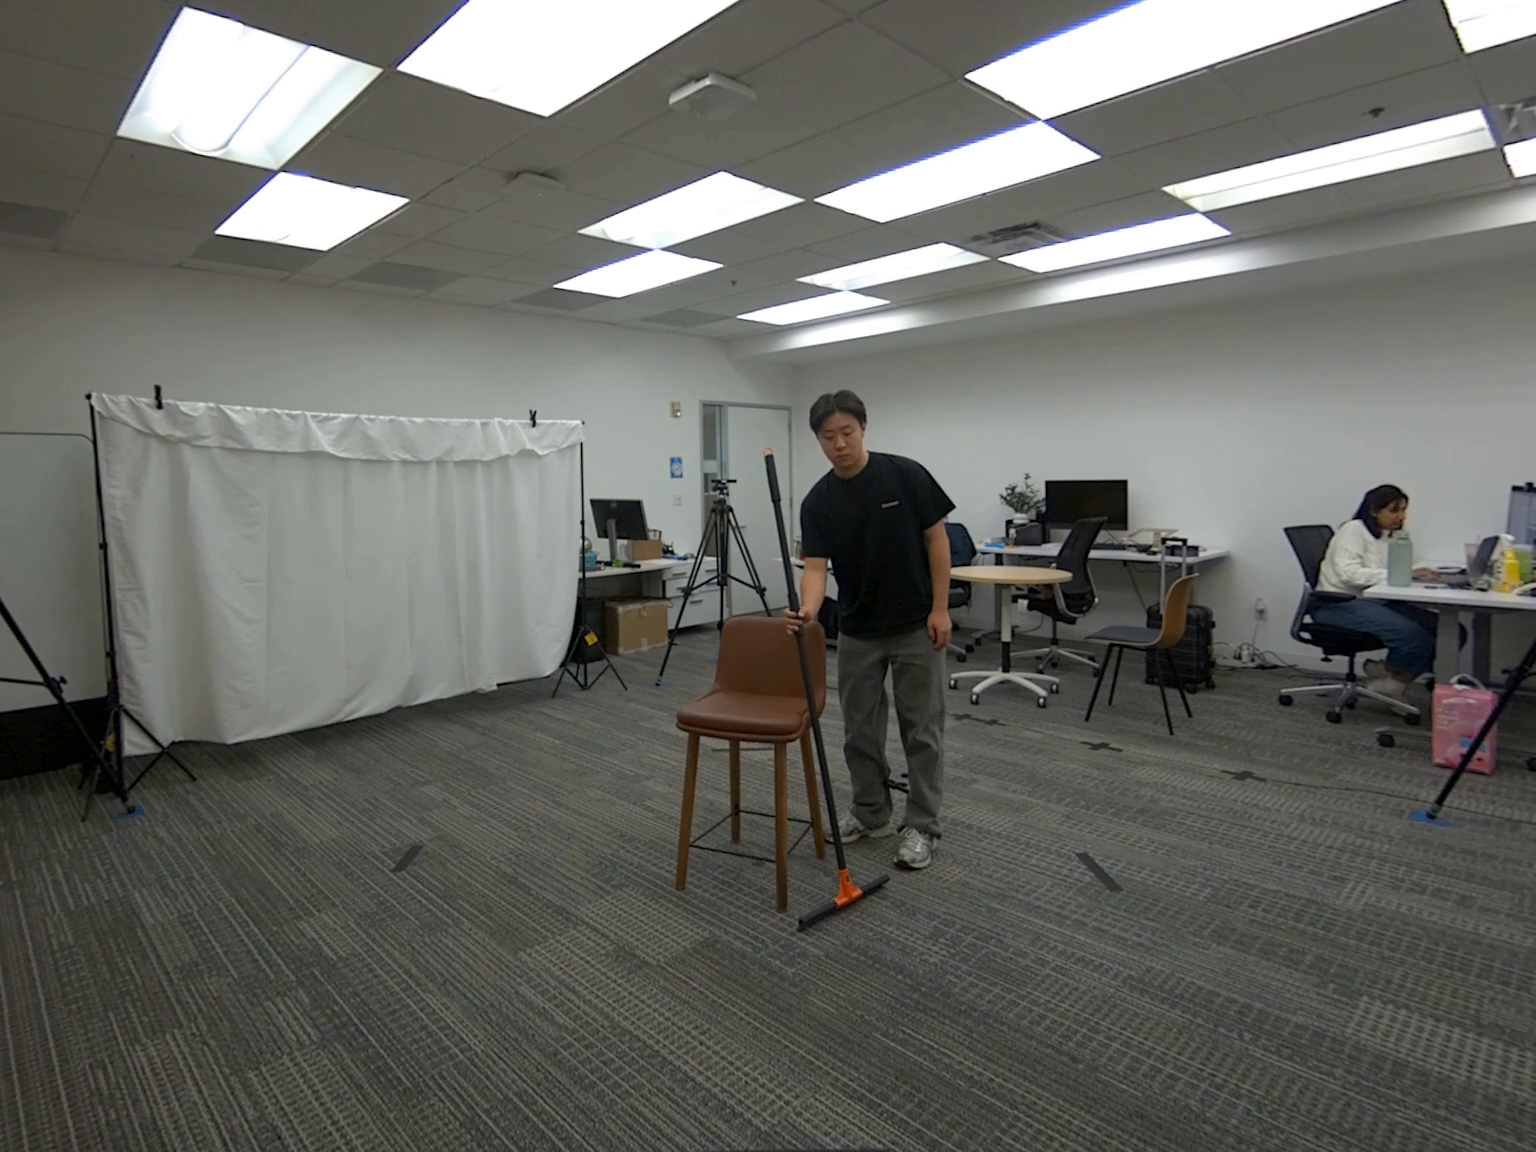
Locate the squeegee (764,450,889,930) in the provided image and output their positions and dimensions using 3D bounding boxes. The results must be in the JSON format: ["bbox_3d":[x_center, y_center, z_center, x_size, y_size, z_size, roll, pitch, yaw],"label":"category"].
[{"bbox_3d":[0.133,0.317,2.856,0.426,1.543,0.054,-6,-4,-38],"label":"squeegee"}]
